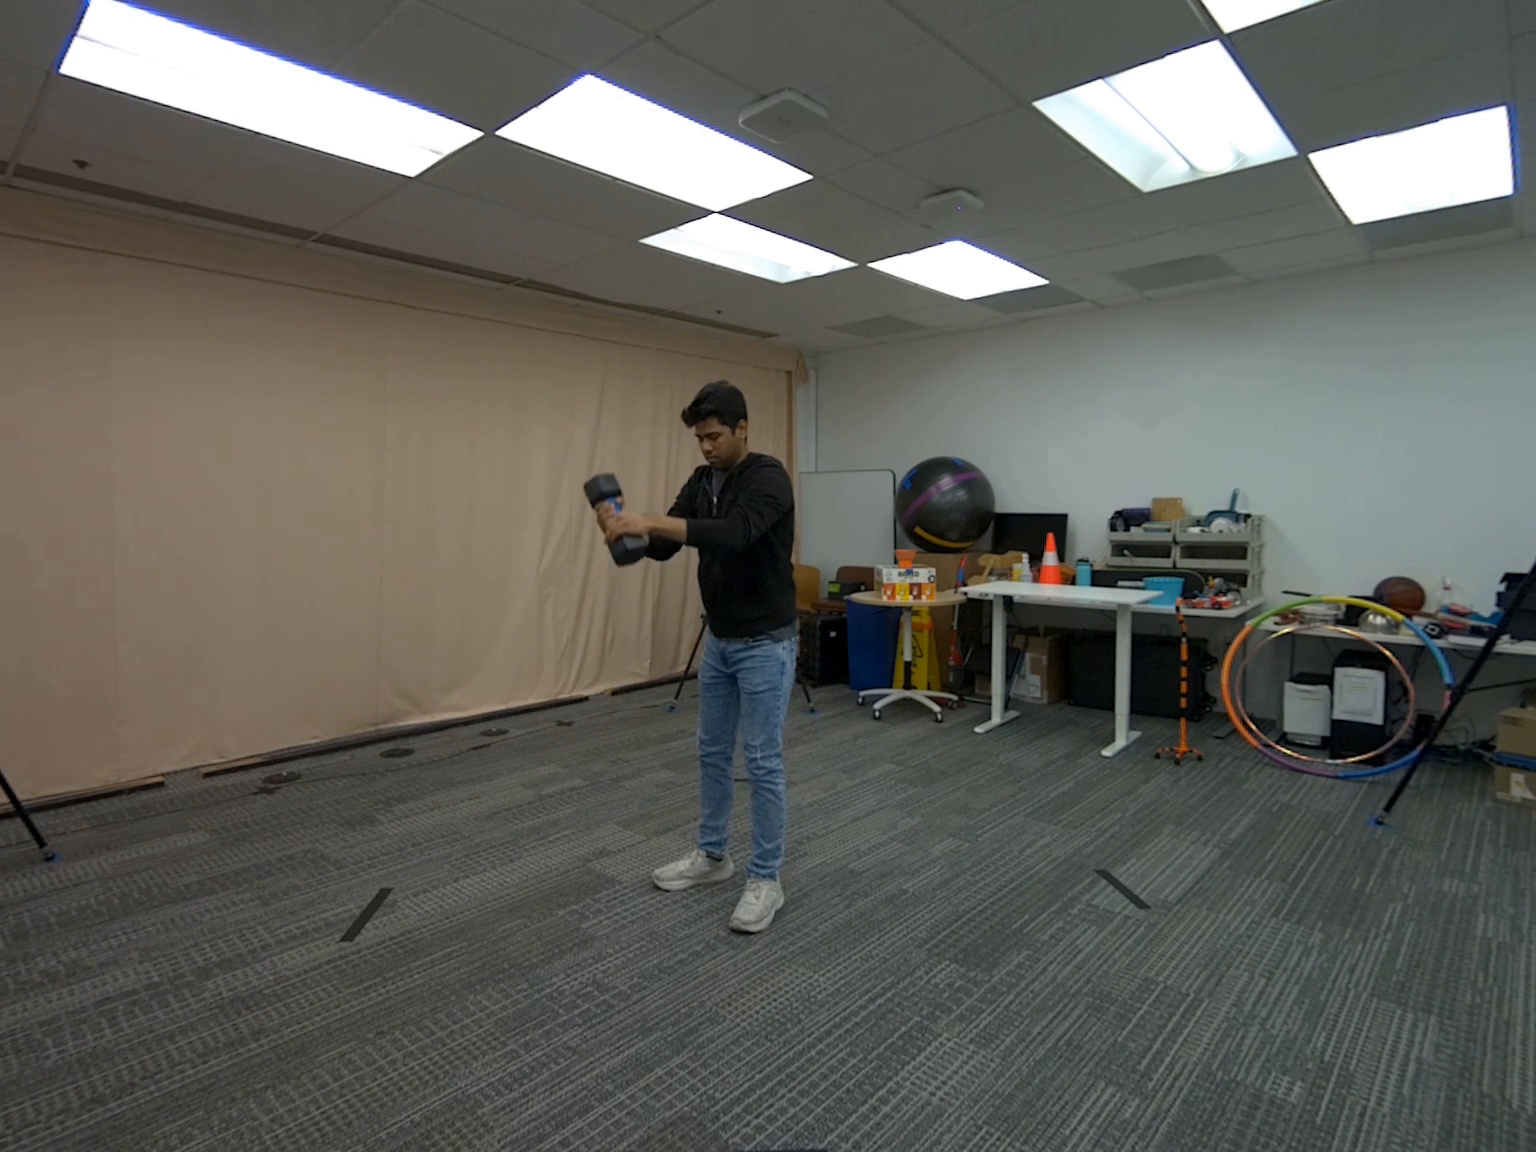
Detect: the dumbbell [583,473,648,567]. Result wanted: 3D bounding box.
[{"bbox_3d":[-0.470,-0.181,2.641,0.124,0.300,0.105,-33,-24,22],"label":"dumbbell"}]
